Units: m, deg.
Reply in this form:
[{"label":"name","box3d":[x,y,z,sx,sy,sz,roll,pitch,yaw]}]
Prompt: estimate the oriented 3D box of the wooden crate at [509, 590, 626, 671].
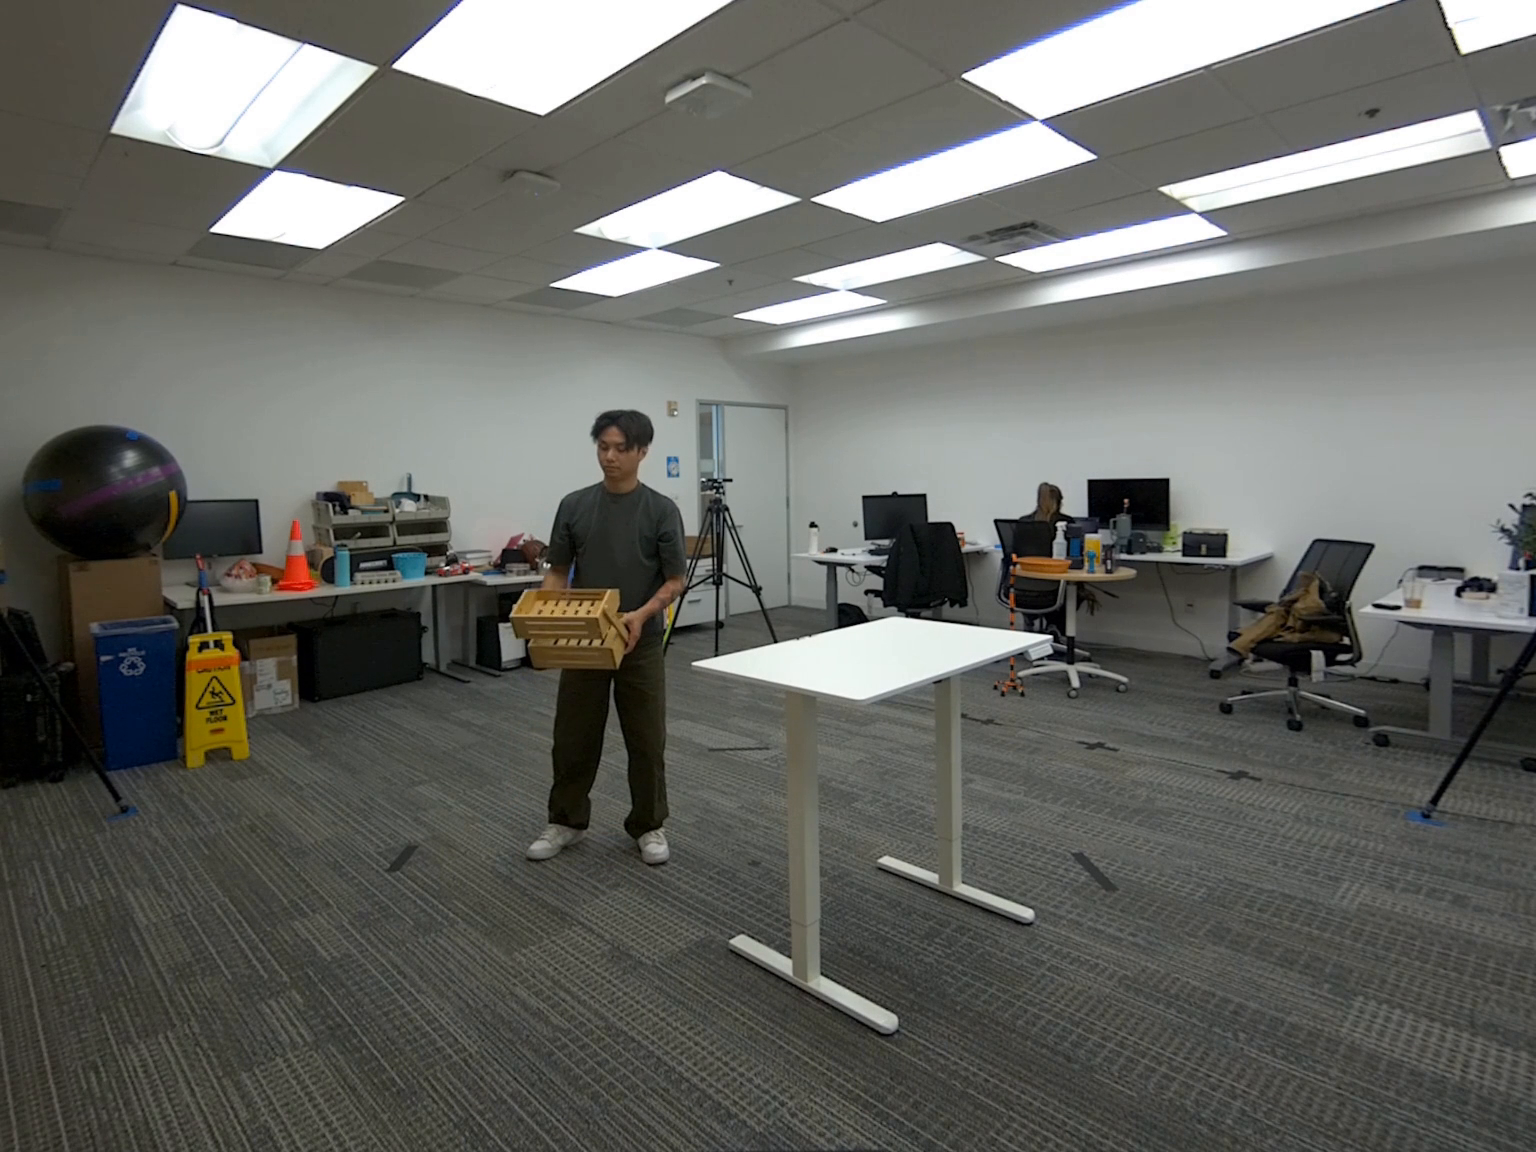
[{"label":"wooden crate","box3d":[-0.658,0.145,2.890,0.328,0.266,0.307,-1,33,10]}]
